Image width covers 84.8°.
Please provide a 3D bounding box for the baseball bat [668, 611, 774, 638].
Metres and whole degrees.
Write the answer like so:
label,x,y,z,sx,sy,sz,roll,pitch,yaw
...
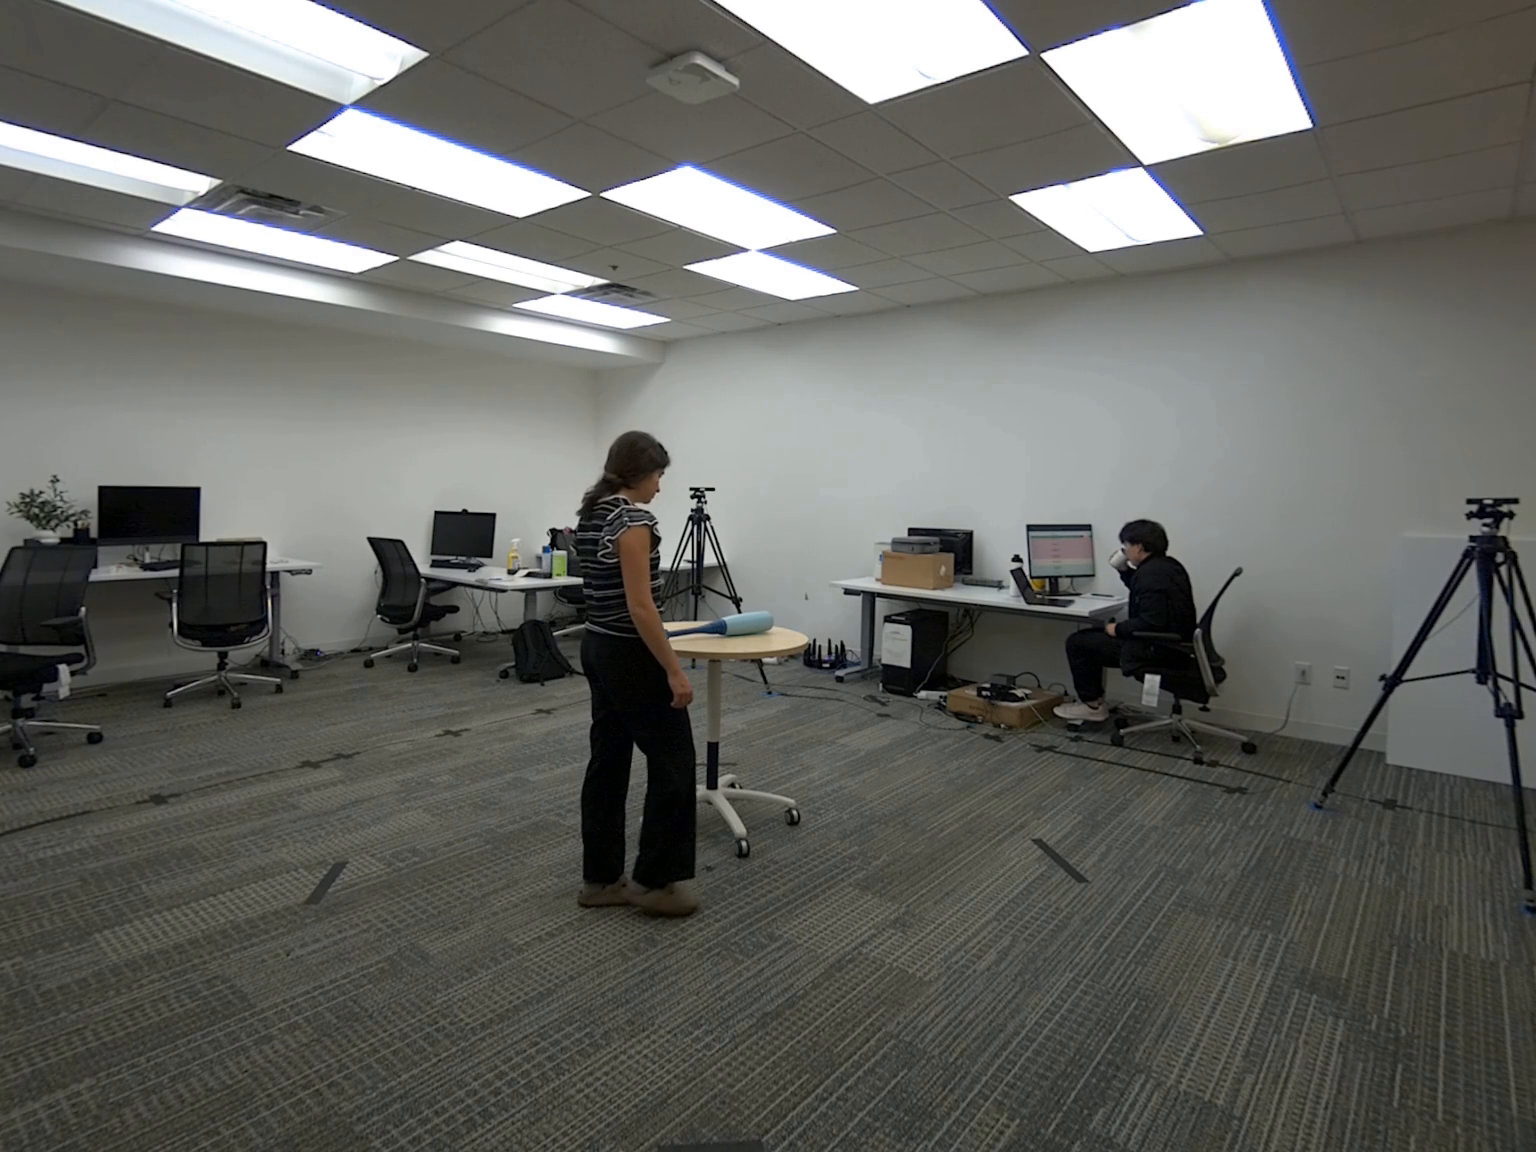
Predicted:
label,x,y,z,sx,sy,sz,roll,pitch,yaw
baseball bat,-0.217,0.210,3.482,0.528,0.088,0.092,-5,7,-36
